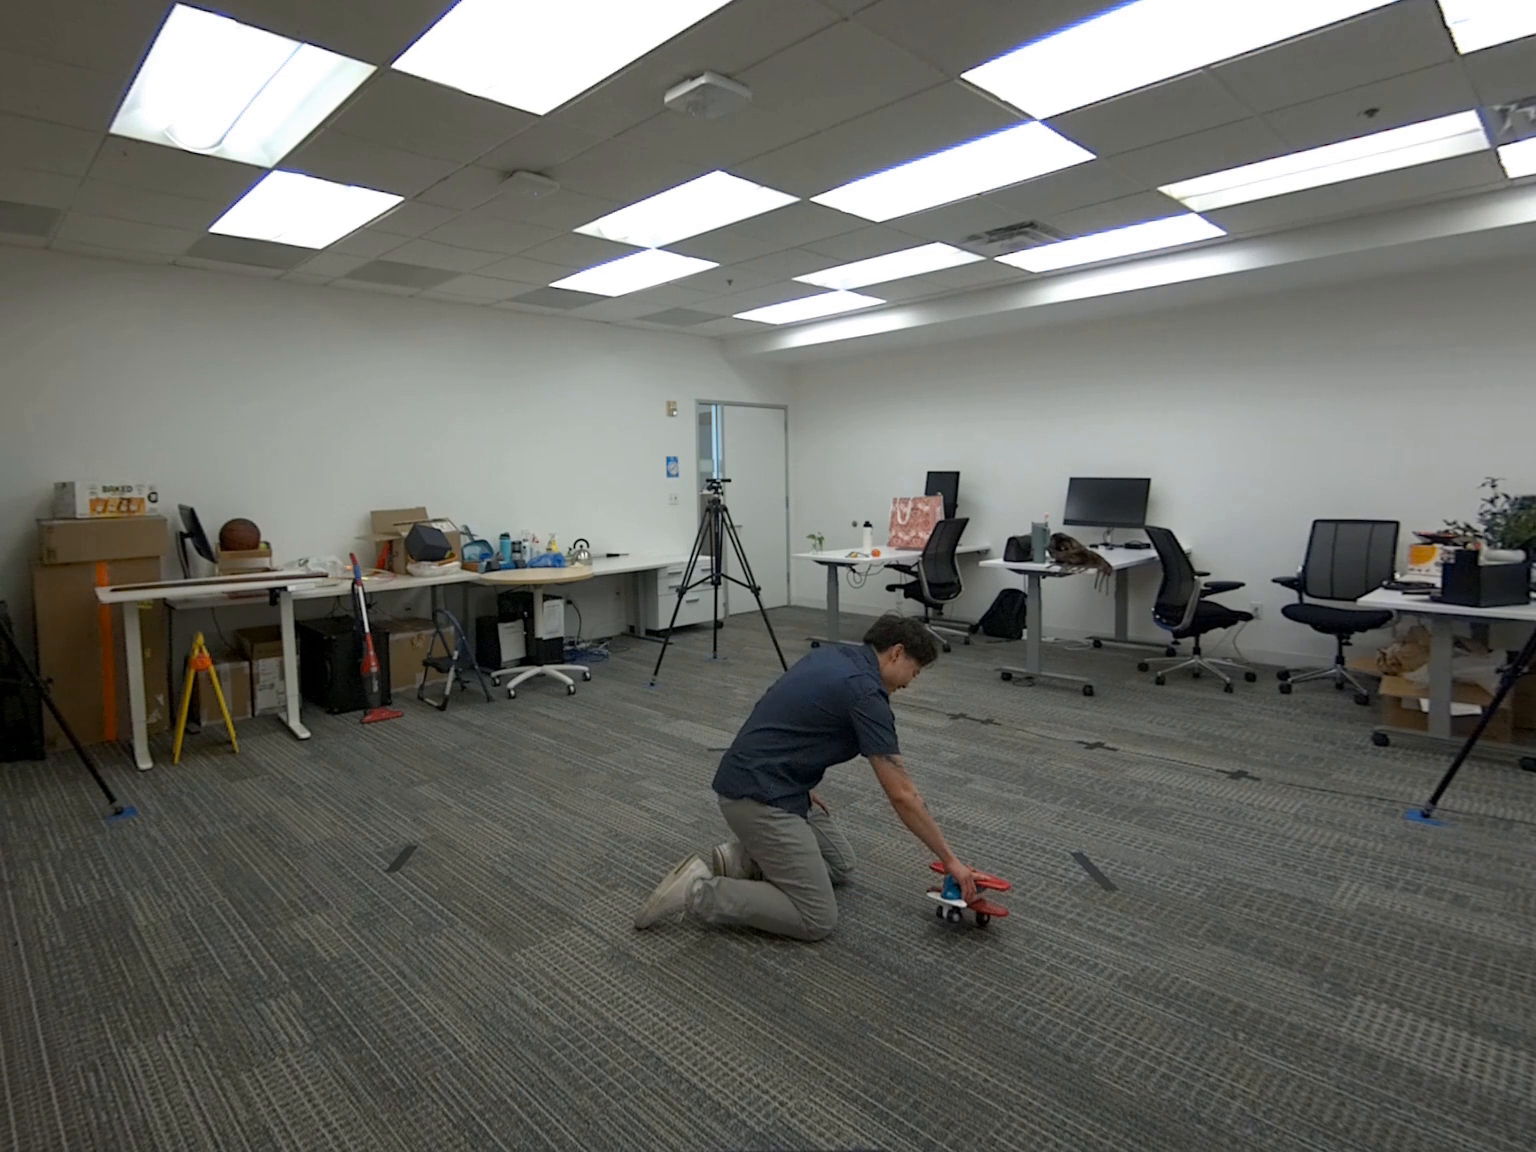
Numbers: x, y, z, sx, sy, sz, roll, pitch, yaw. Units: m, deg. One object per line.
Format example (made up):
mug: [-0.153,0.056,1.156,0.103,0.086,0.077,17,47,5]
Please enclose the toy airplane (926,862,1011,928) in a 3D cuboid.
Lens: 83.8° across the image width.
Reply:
toy airplane: [0.612,0.983,2.621,0.255,0.158,0.253,12,-14,12]
